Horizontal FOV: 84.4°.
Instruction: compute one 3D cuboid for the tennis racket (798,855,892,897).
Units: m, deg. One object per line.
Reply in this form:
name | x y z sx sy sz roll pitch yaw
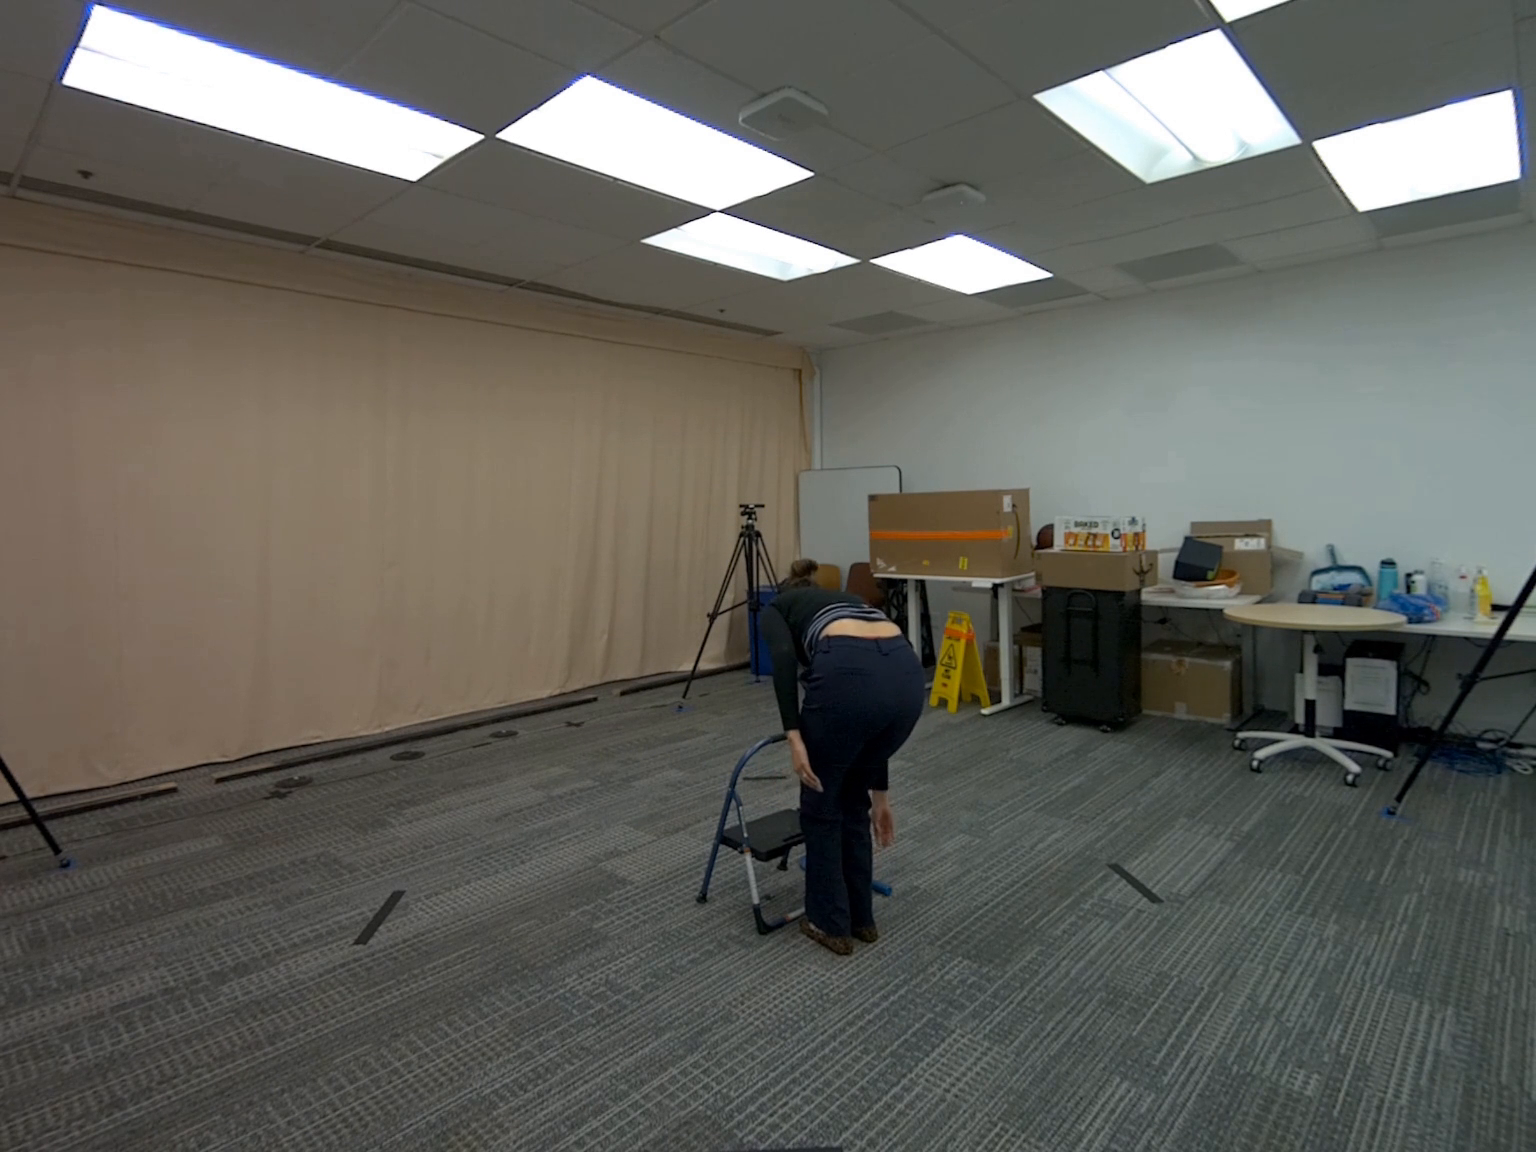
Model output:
tennis racket | 0.289 1.102 3.150 0.207 0.032 0.447 -4 5 -39
